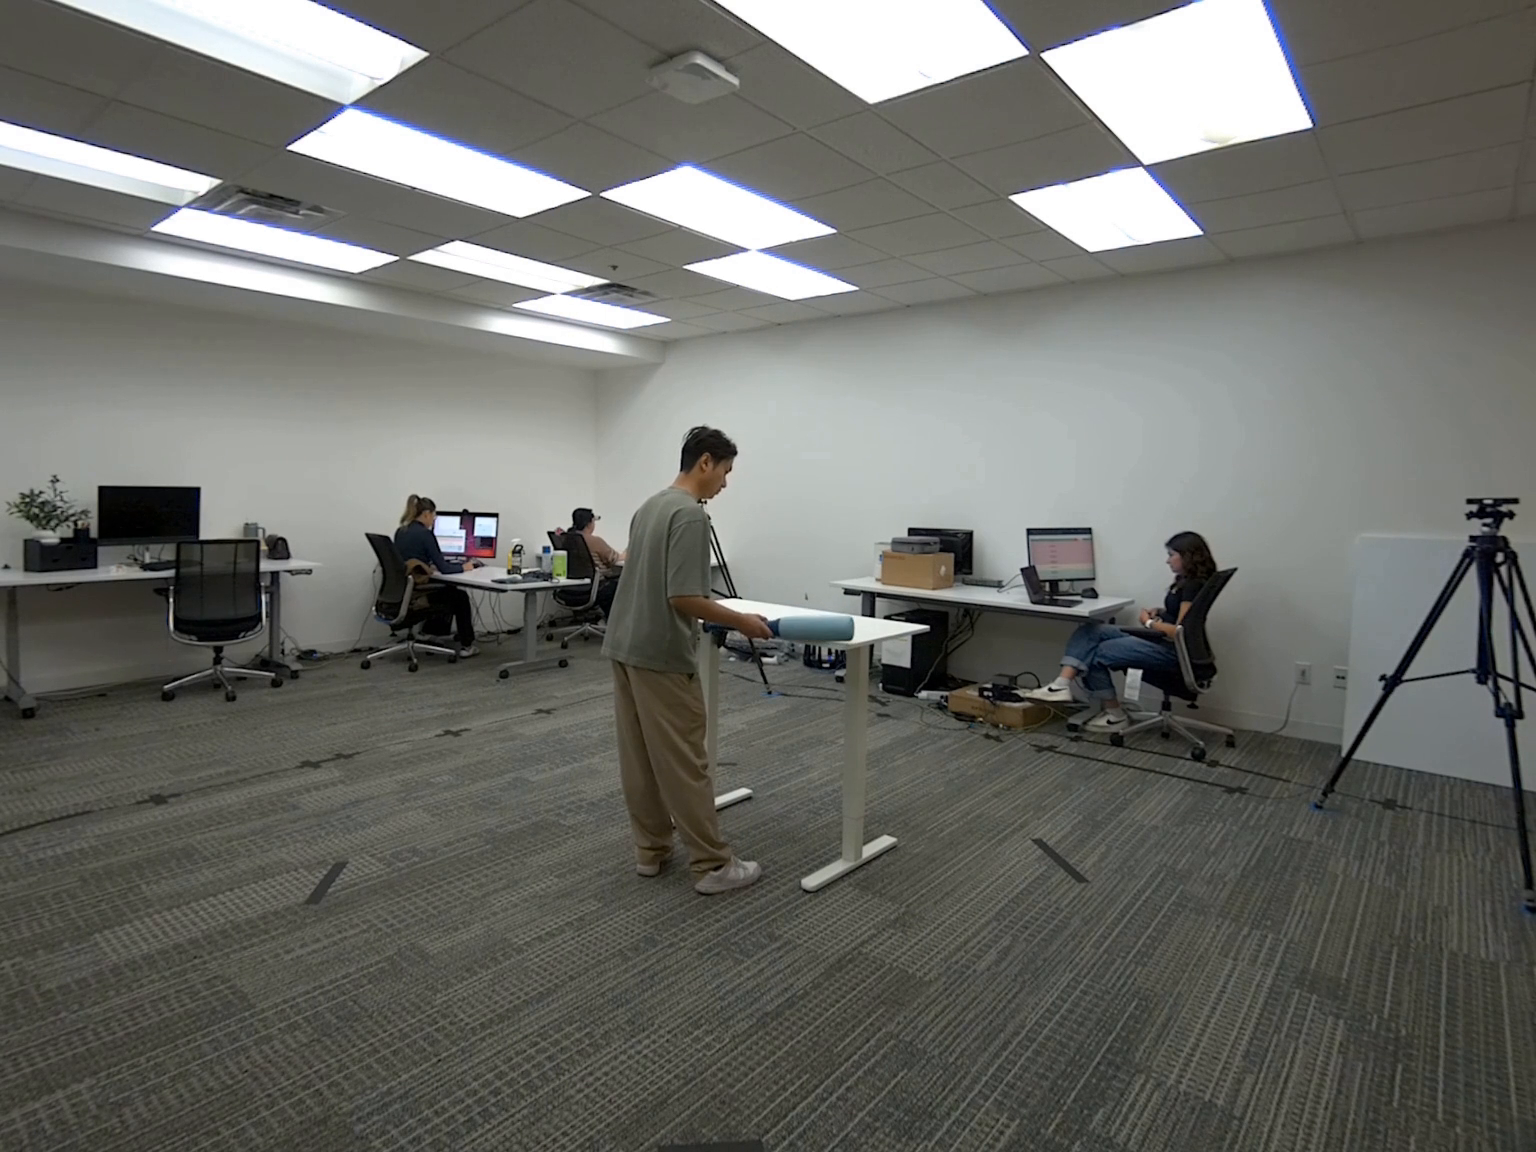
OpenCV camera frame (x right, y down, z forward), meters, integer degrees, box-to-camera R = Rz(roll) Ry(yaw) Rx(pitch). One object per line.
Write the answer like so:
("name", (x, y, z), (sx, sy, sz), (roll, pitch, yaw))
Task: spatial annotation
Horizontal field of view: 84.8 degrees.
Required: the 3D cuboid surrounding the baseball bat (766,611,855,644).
("baseball bat", (0.020, 0.173, 2.932), (0.552, 0.089, 0.088), (-3, 3, 17))
